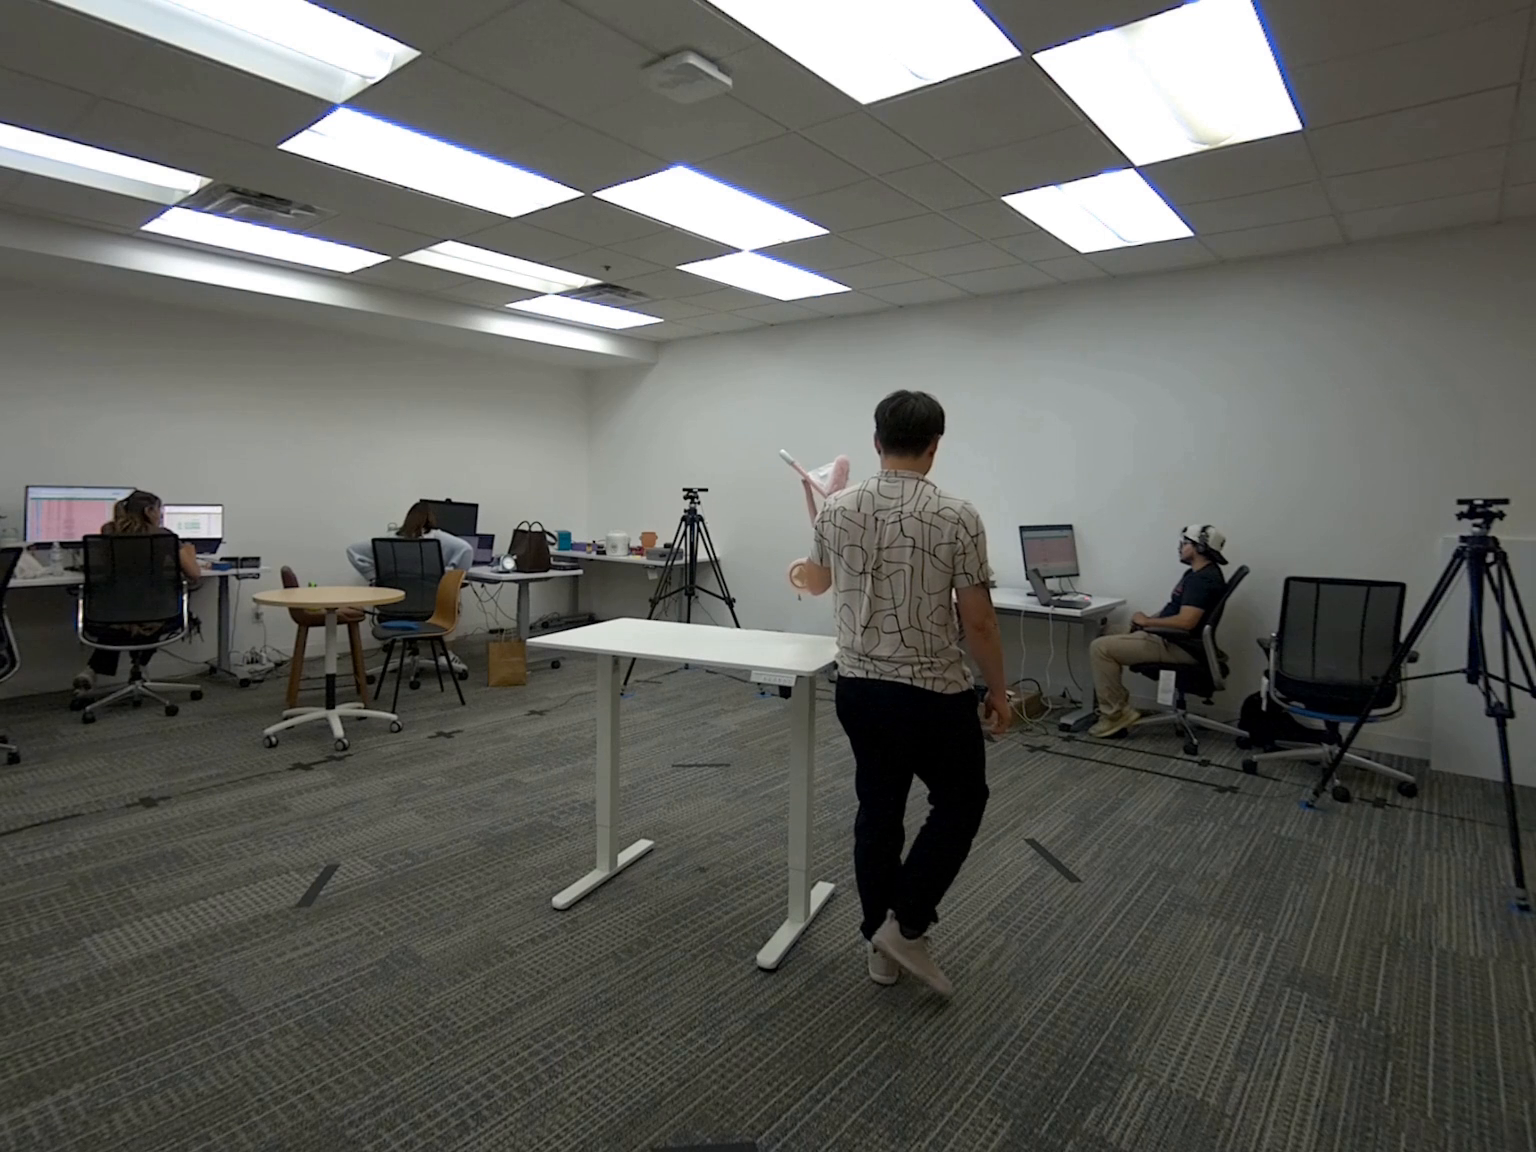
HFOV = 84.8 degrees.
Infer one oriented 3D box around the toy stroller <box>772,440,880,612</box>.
[{"bbox_3d":[0.226,-0.165,2.867,0.346,0.536,0.277,-4,-2,14],"label":"toy stroller"}]
